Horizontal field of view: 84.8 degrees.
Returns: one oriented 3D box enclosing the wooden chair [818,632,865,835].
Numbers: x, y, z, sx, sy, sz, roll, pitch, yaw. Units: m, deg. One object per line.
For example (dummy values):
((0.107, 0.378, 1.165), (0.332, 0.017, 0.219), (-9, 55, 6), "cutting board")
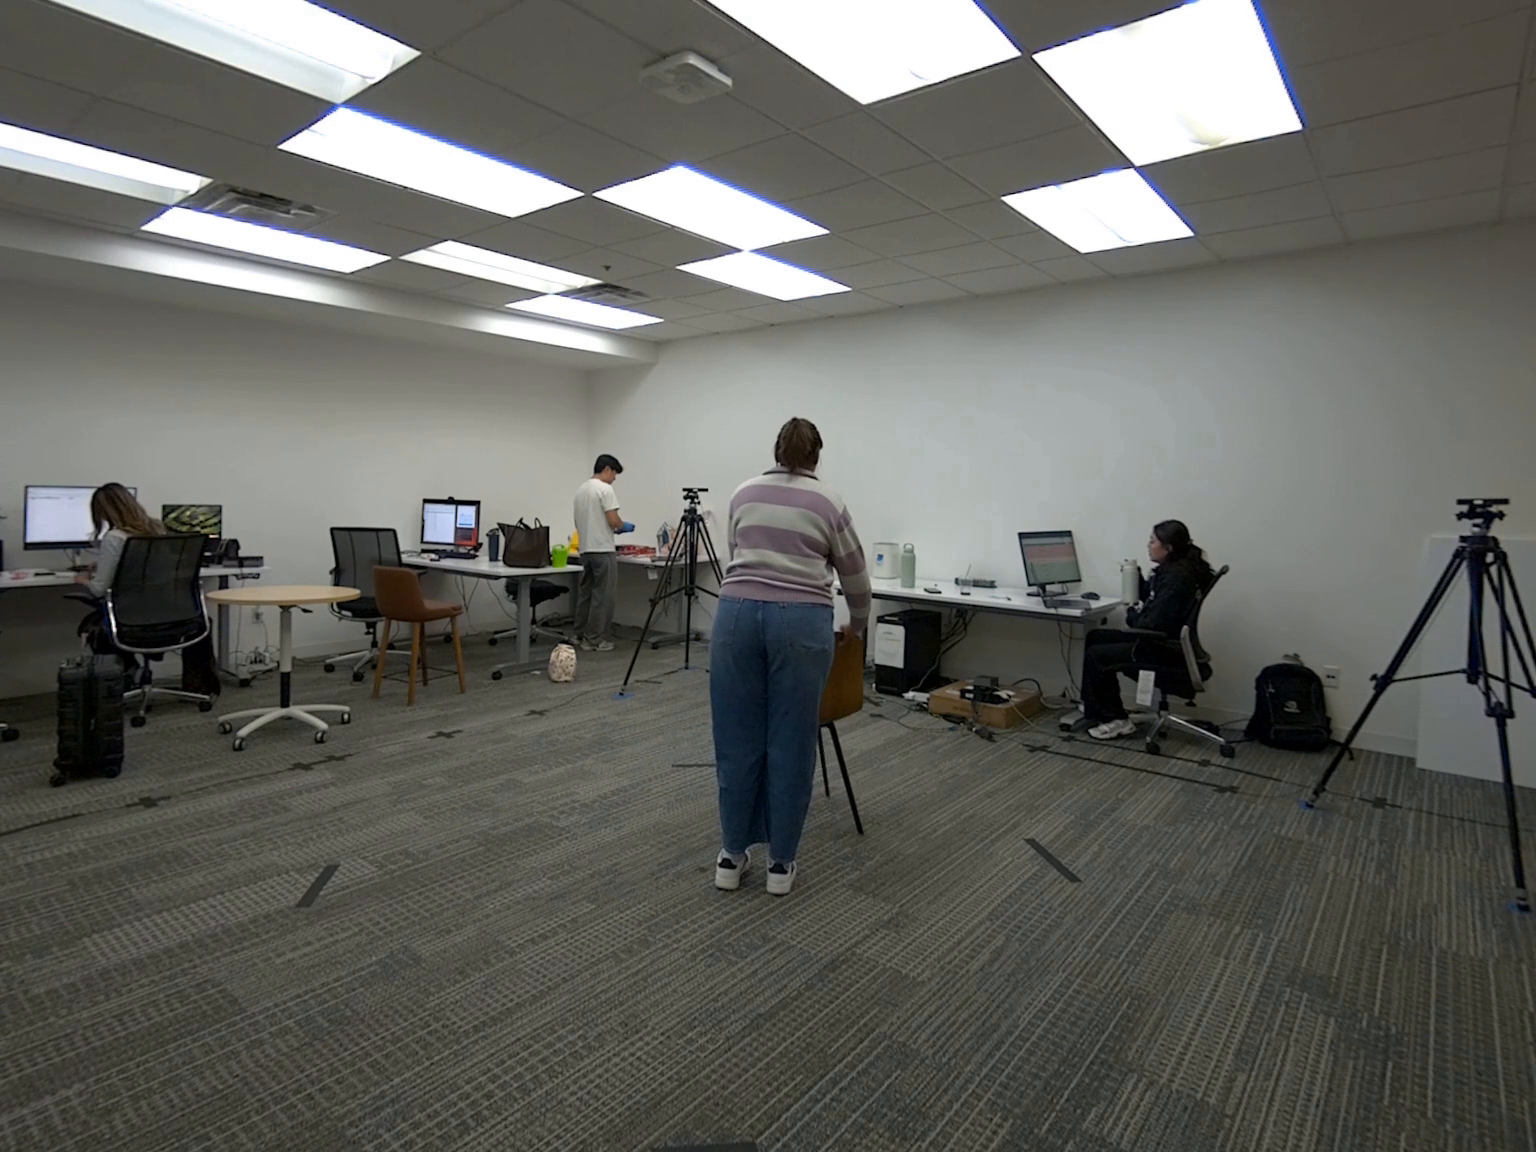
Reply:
((0.110, 0.594, 3.616), (0.472, 0.871, 0.534), (0, 8, -13), "wooden chair")
